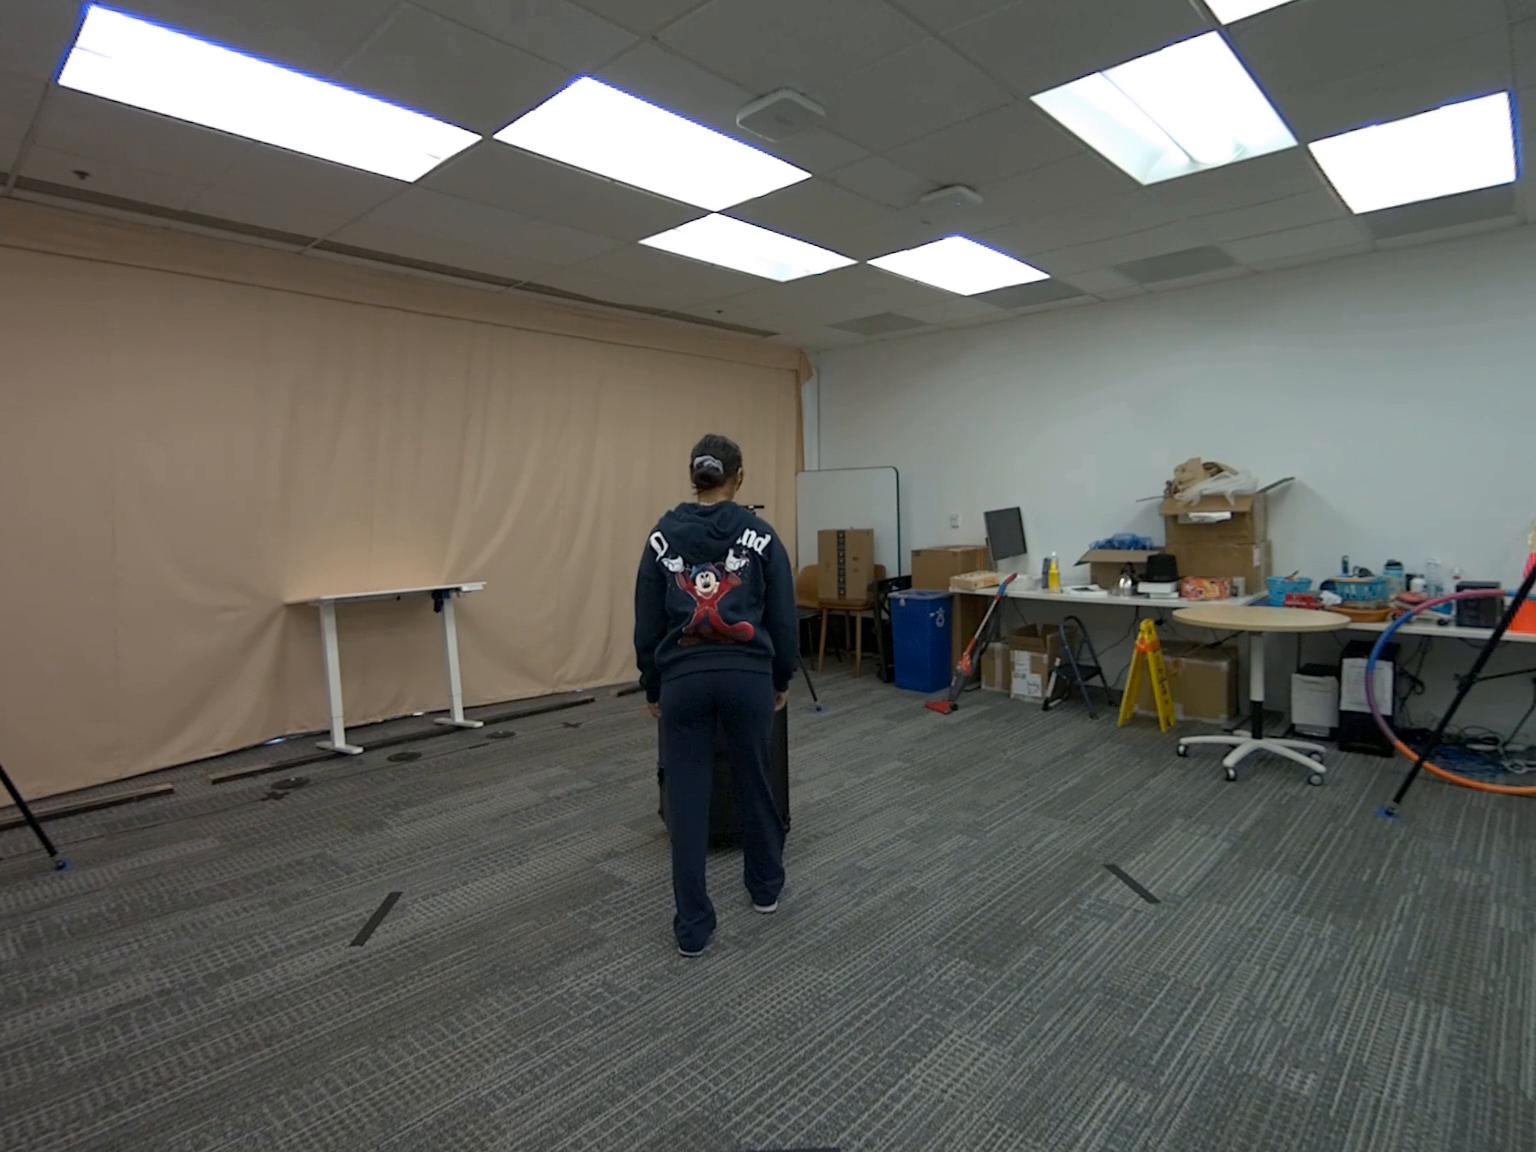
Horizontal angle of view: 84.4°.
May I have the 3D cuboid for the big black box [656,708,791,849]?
[{"bbox_3d":[-0.186,0.673,3.490,0.514,0.859,0.403,-1,4,-14],"label":"big black box"}]
